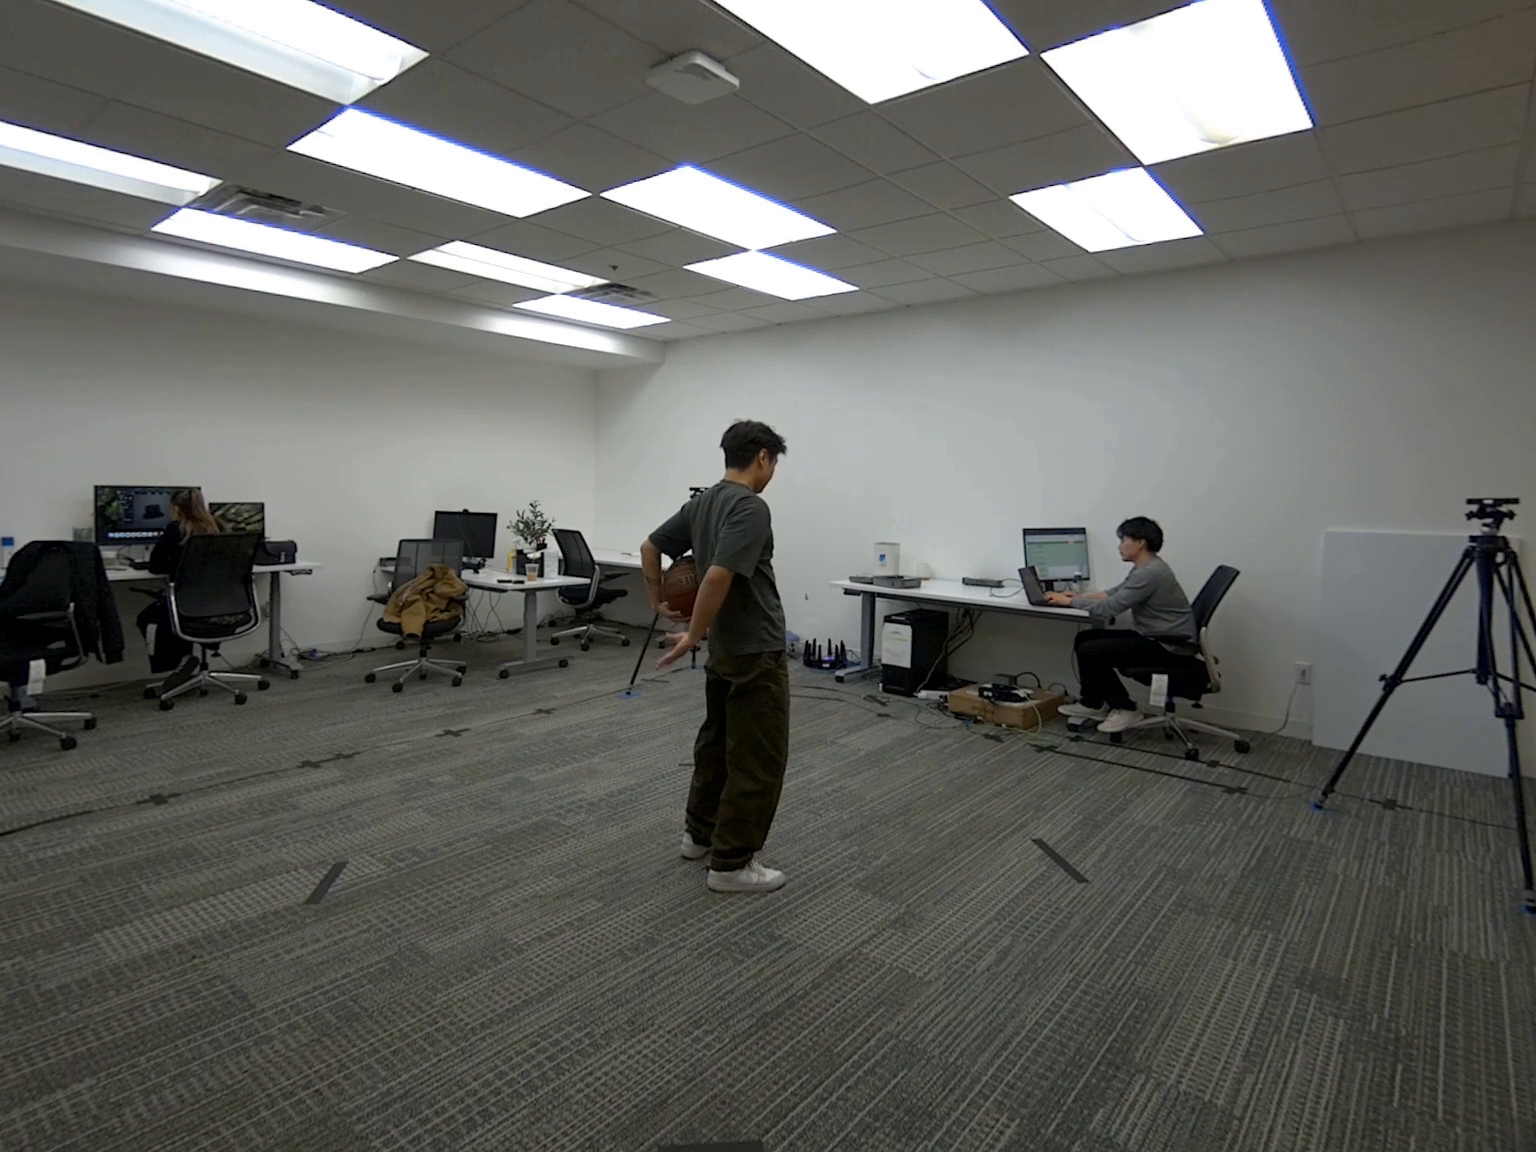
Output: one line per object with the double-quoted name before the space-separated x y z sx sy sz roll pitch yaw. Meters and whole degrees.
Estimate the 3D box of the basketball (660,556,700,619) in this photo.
"basketball" -0.294 0.043 3.221 0.235 0.235 0.237 1 4 -2
